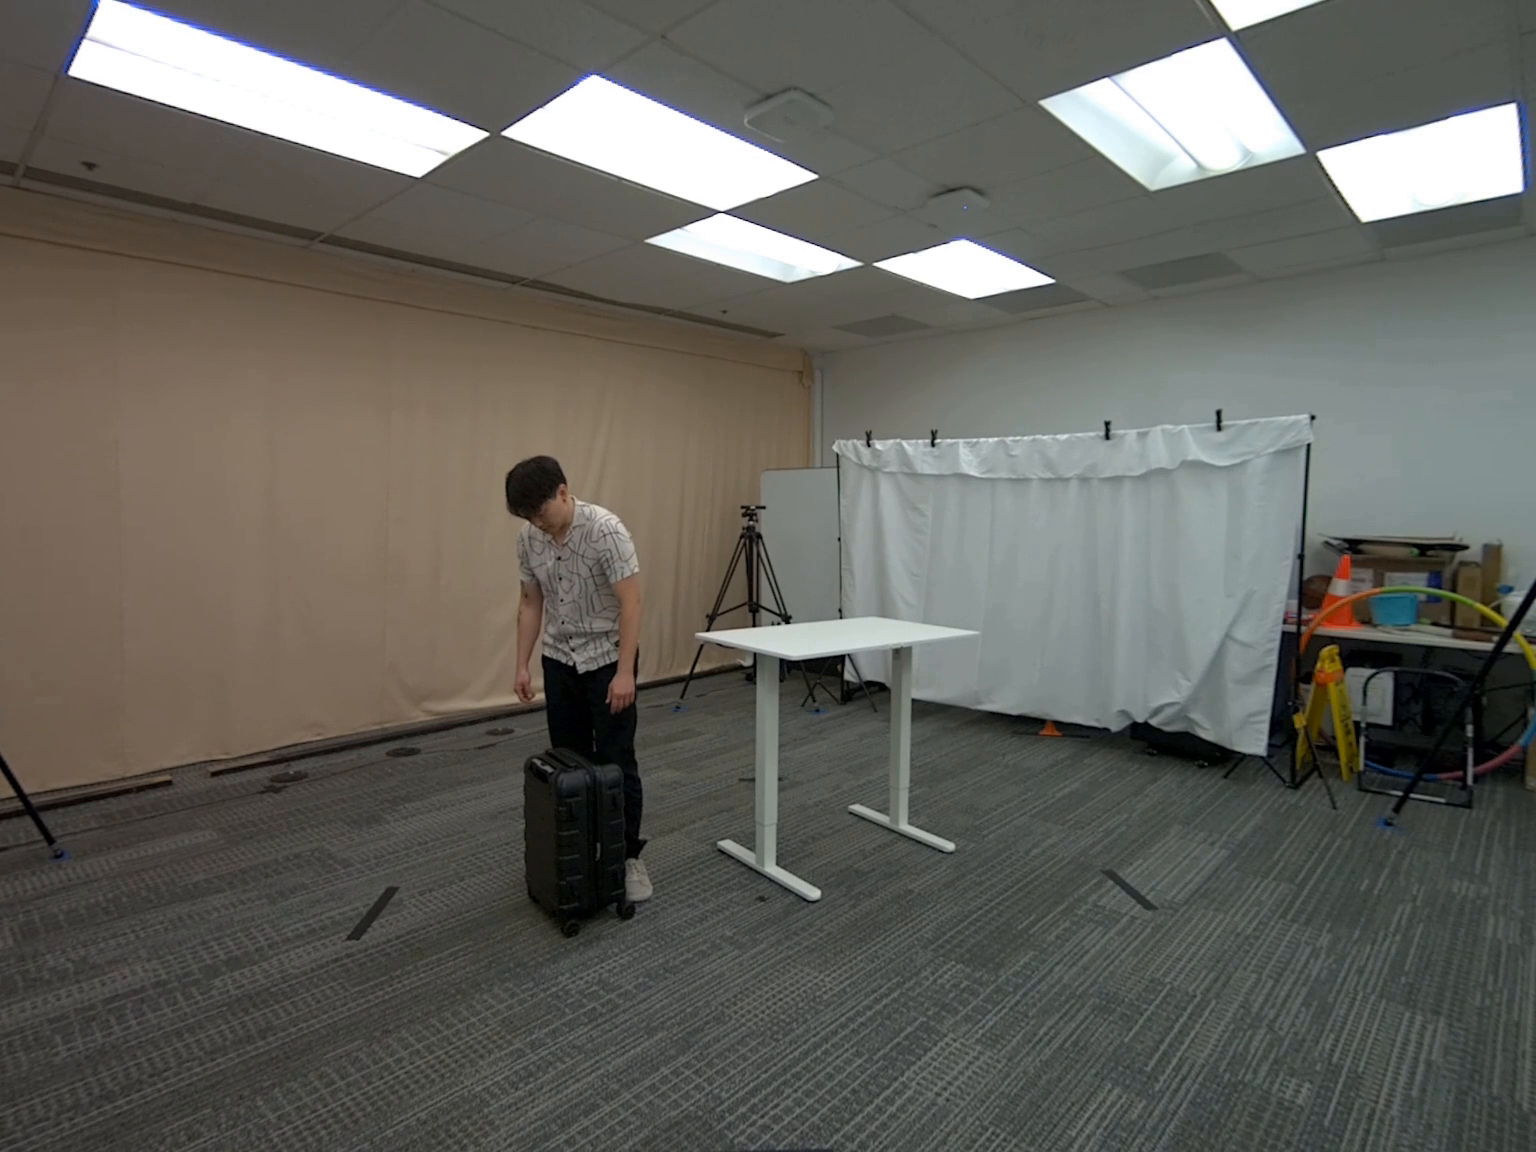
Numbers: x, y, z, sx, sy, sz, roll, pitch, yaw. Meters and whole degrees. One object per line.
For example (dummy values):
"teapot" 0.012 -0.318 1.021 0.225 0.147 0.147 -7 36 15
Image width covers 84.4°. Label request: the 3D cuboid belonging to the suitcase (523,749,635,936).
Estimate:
"suitcase" -0.664 0.878 2.897 0.241 0.548 0.387 -2 3 -36
